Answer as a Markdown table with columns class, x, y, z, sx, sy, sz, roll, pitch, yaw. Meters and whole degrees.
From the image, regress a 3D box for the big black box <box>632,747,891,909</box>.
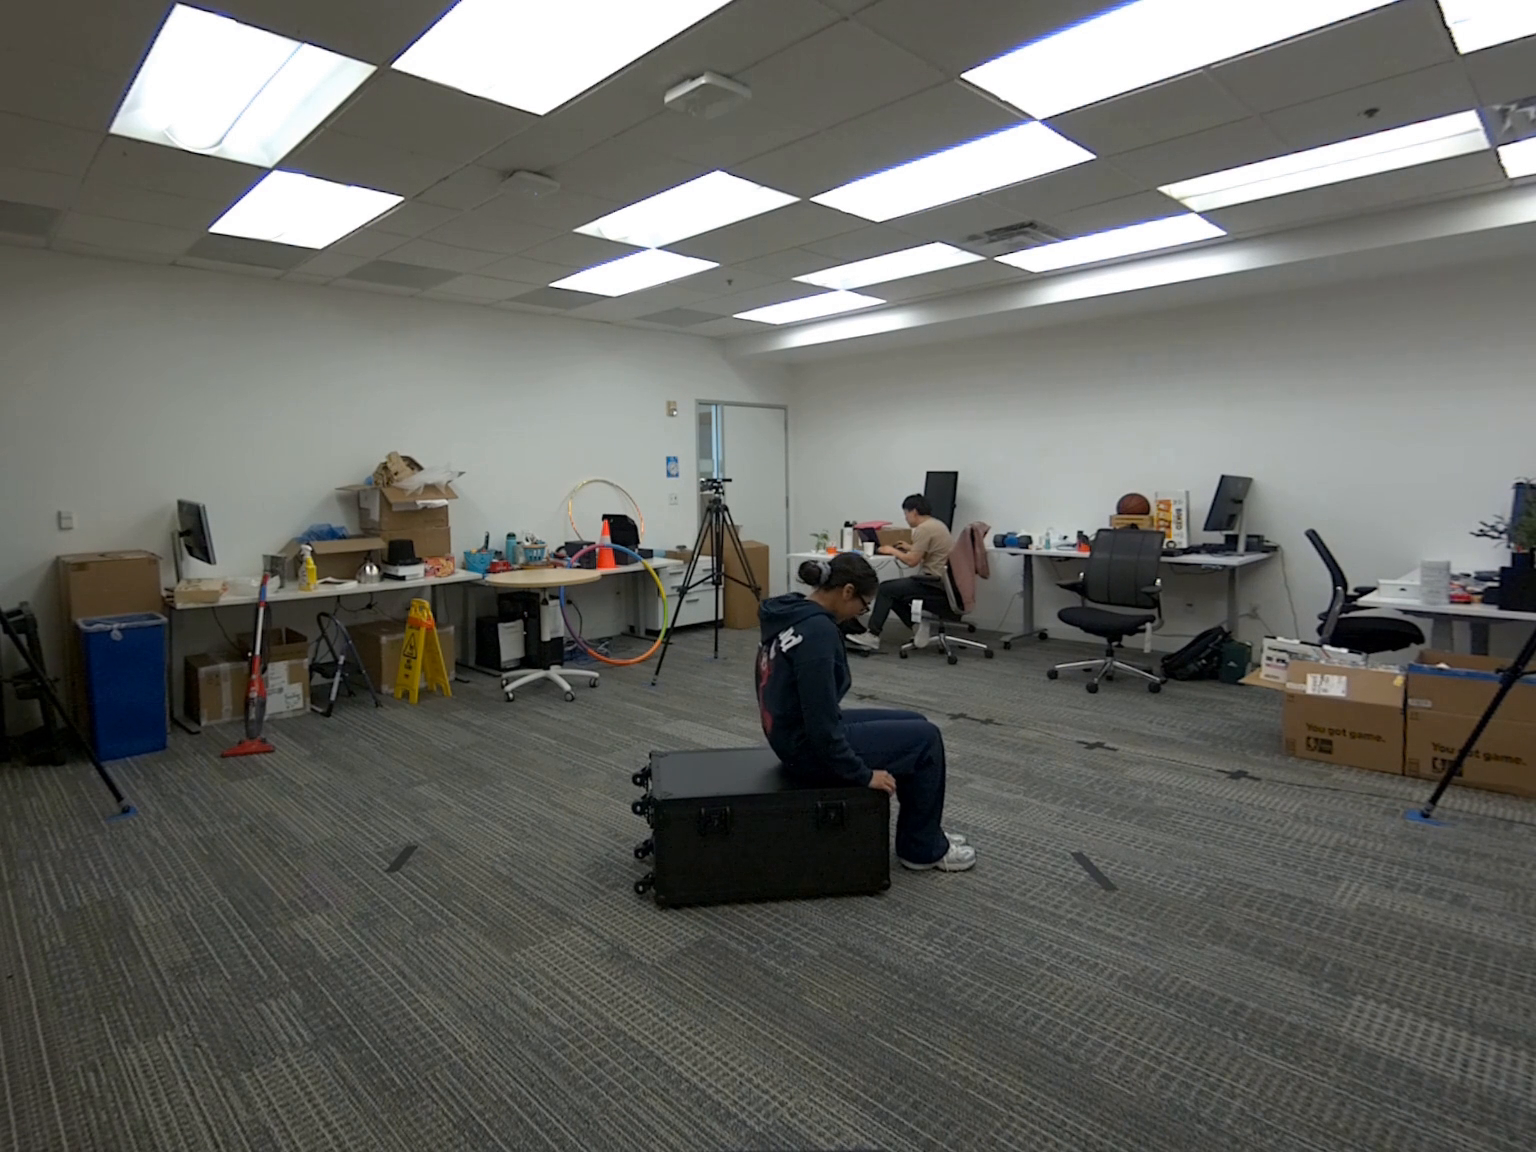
| class | x | y | z | sx | sy | sz | roll | pitch | yaw |
| --- | --- | --- | --- | --- | --- | --- | --- | --- | --- |
| big black box | -0.054 | 0.859 | 3.027 | 0.856 | 0.394 | 0.527 | -1 | 6 | -7 |
